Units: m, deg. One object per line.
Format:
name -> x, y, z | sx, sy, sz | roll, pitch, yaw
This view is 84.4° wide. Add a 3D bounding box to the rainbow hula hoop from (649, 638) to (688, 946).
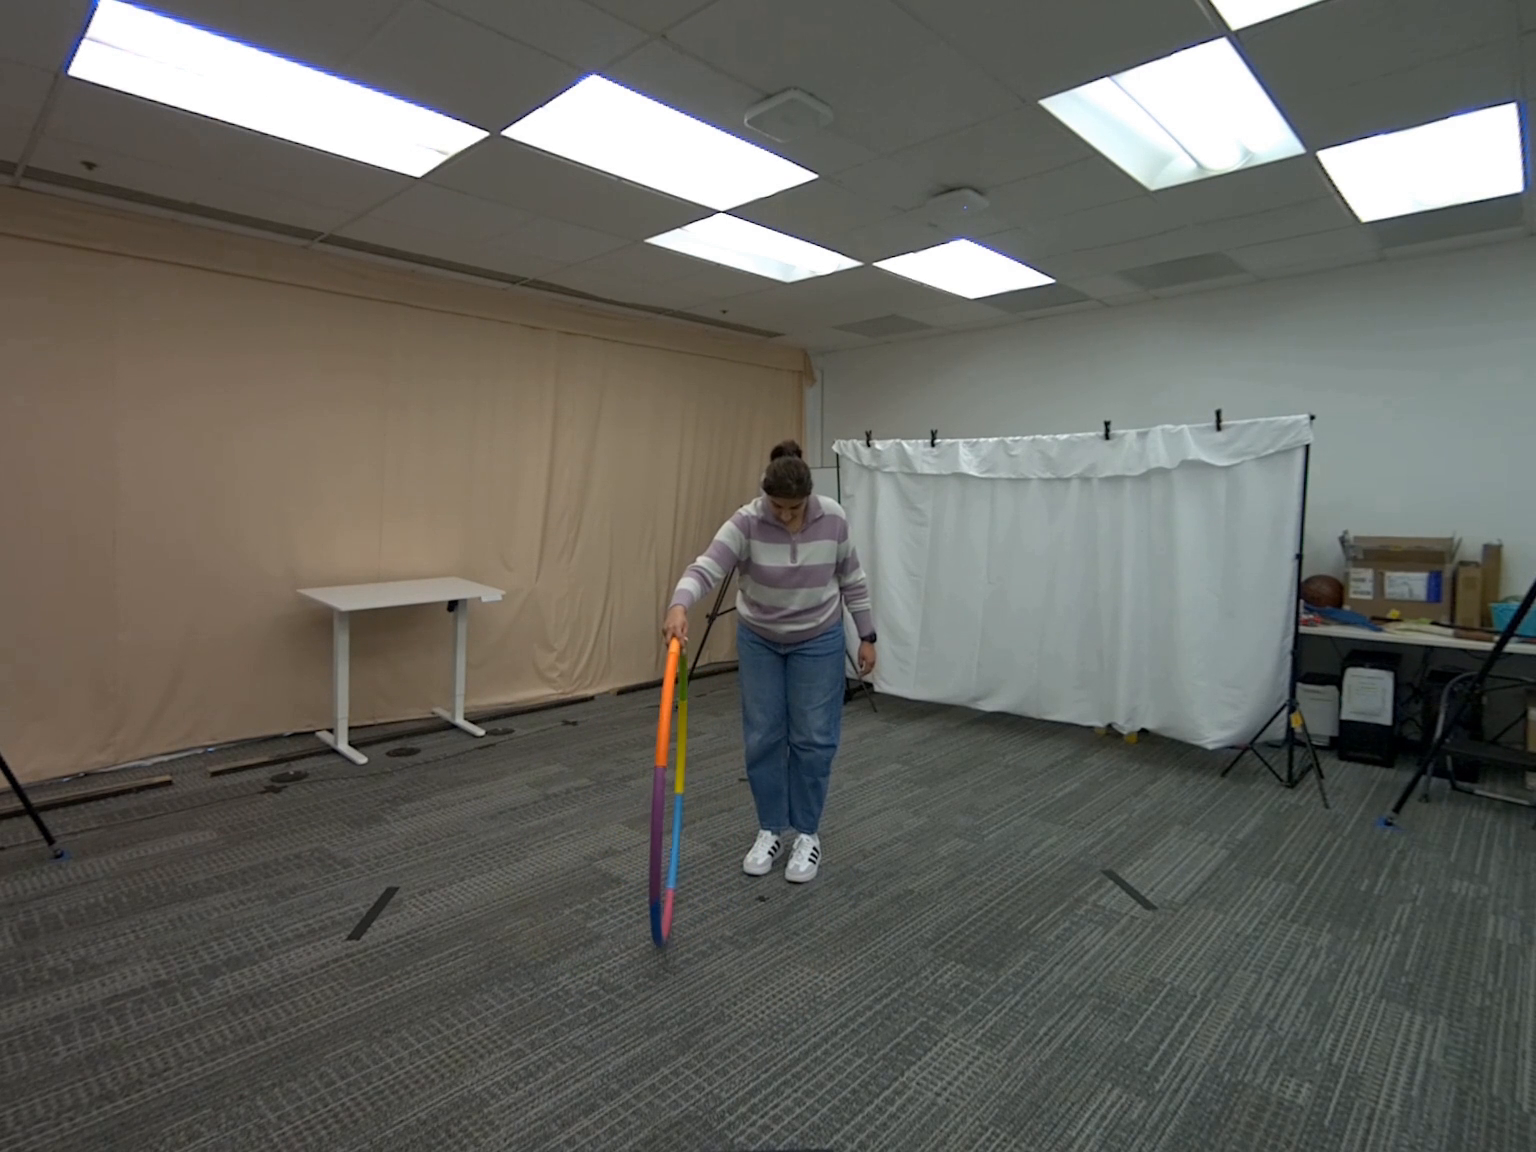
rainbow hula hoop -> -0.316, 0.670, 2.753 | 0.035, 0.977, 0.980 | 3, 4, -2
